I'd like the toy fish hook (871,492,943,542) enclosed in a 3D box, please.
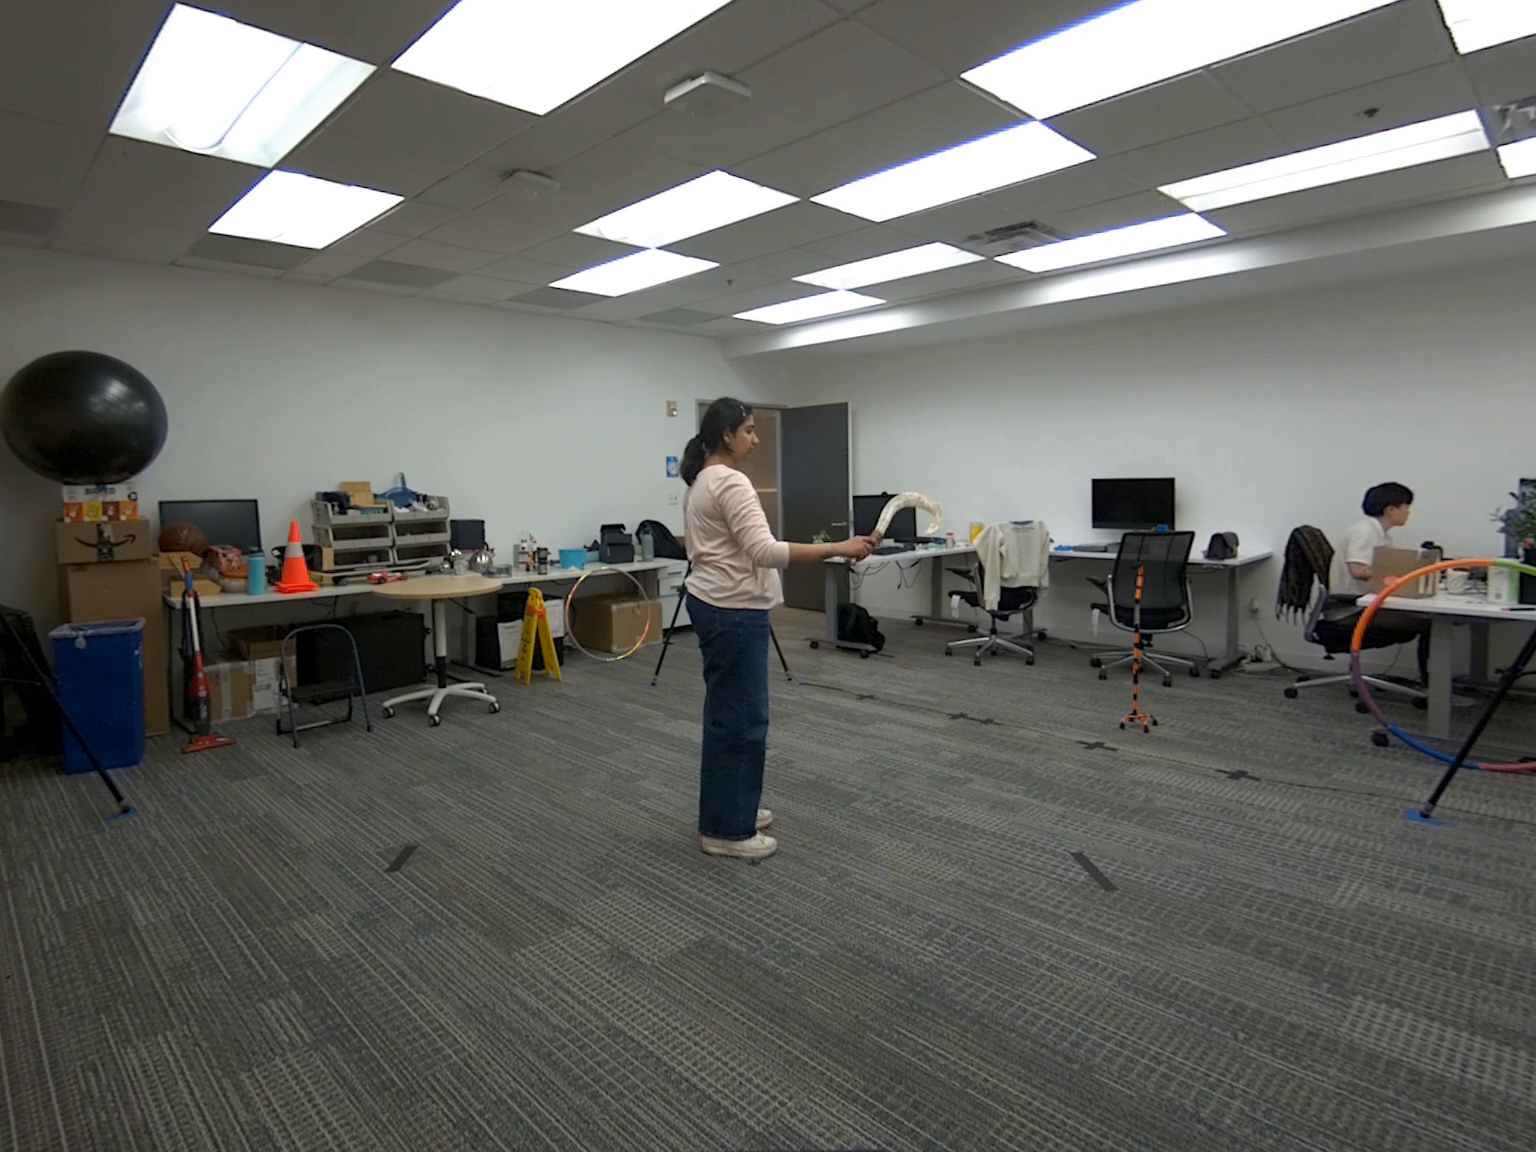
[{"bbox_3d":[0.469,-0.164,3.126,0.232,0.047,0.505,27,51,28],"label":"toy fish hook"}]
